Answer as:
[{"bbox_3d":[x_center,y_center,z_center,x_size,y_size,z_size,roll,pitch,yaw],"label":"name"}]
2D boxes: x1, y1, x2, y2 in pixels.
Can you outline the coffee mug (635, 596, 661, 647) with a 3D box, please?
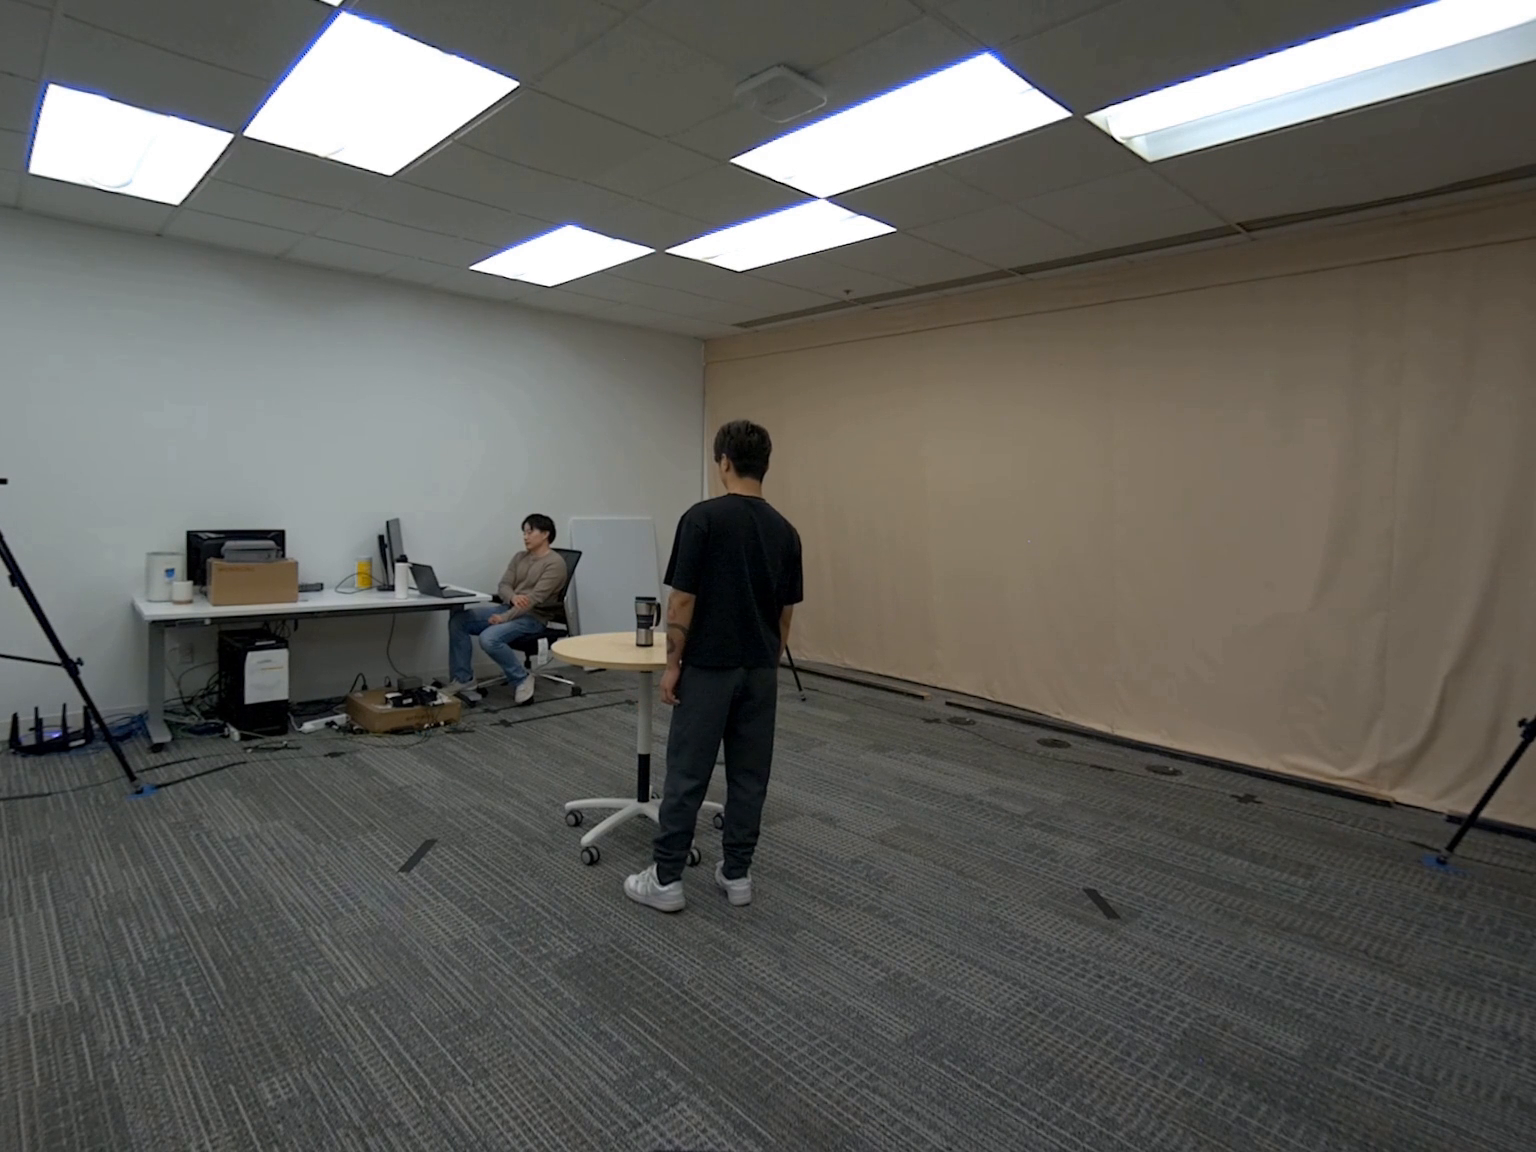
[{"bbox_3d":[-0.503,0.186,3.423,0.086,0.203,0.124,6,-2,-26],"label":"coffee mug"}]
